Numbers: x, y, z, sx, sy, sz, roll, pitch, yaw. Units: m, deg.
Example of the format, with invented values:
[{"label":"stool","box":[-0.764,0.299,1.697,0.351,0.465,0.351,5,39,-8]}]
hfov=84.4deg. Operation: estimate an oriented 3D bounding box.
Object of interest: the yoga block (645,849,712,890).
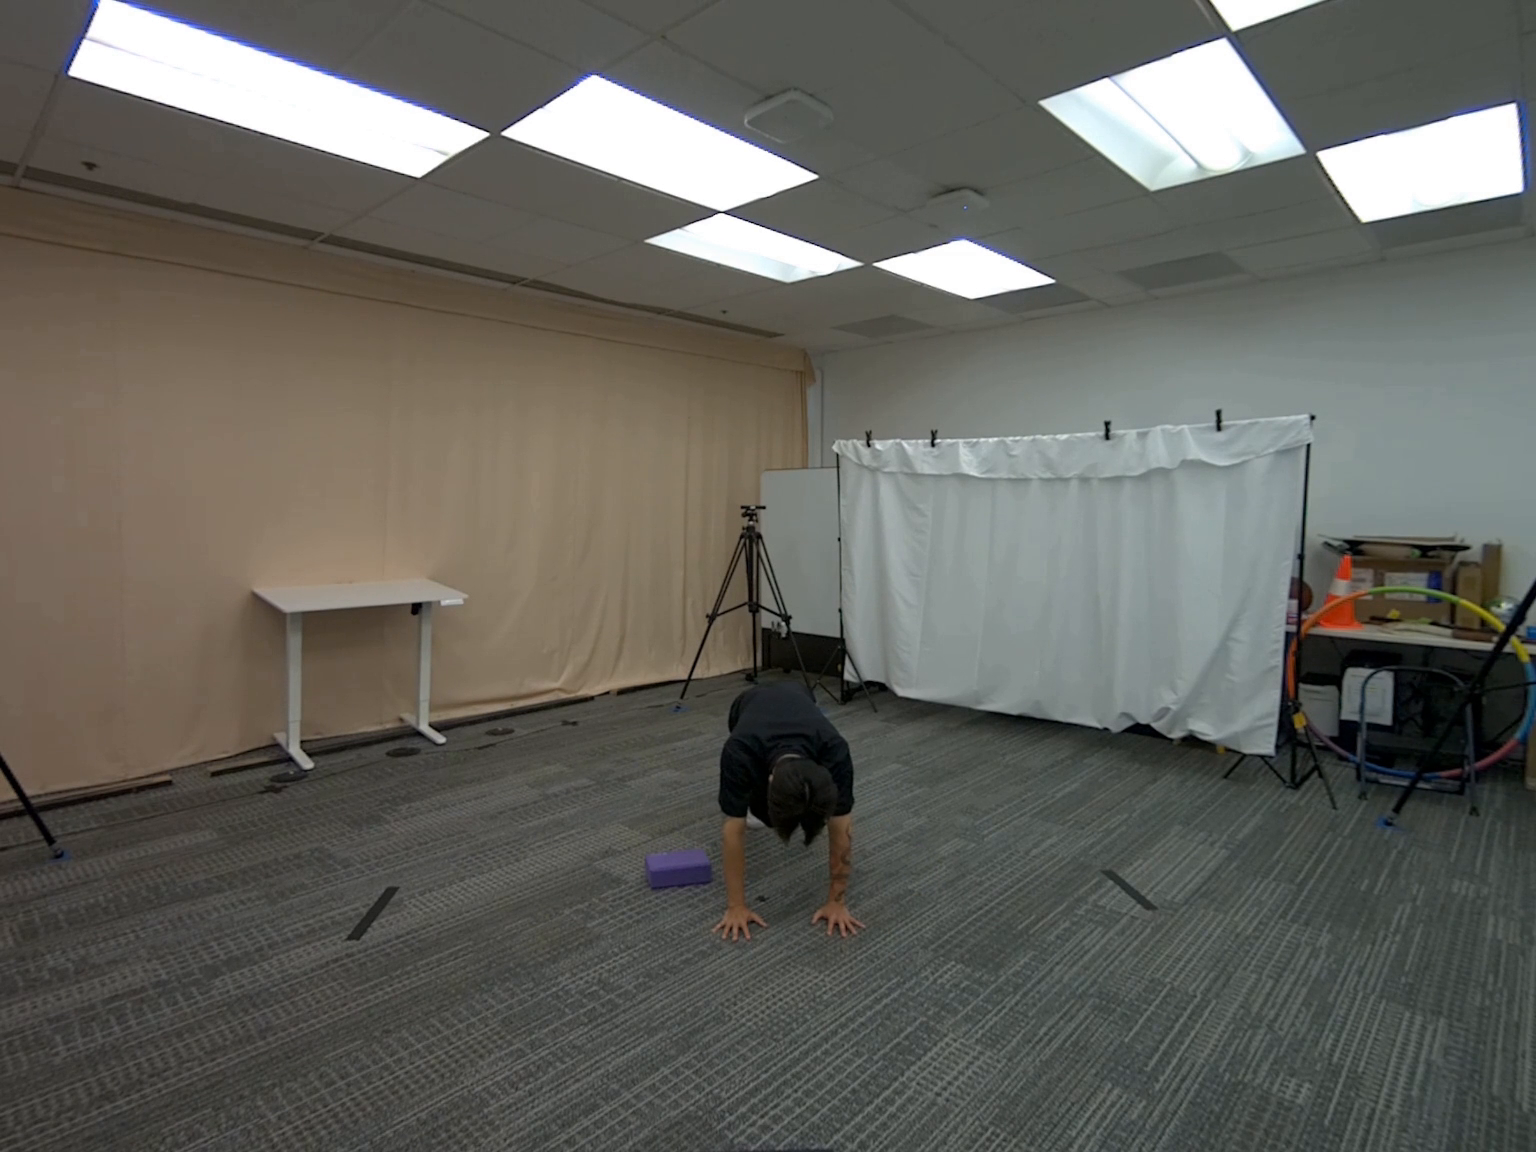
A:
[{"label":"yoga block","box":[-0.338,1.093,3.149,0.226,0.076,0.152,-1,5,-14]}]
